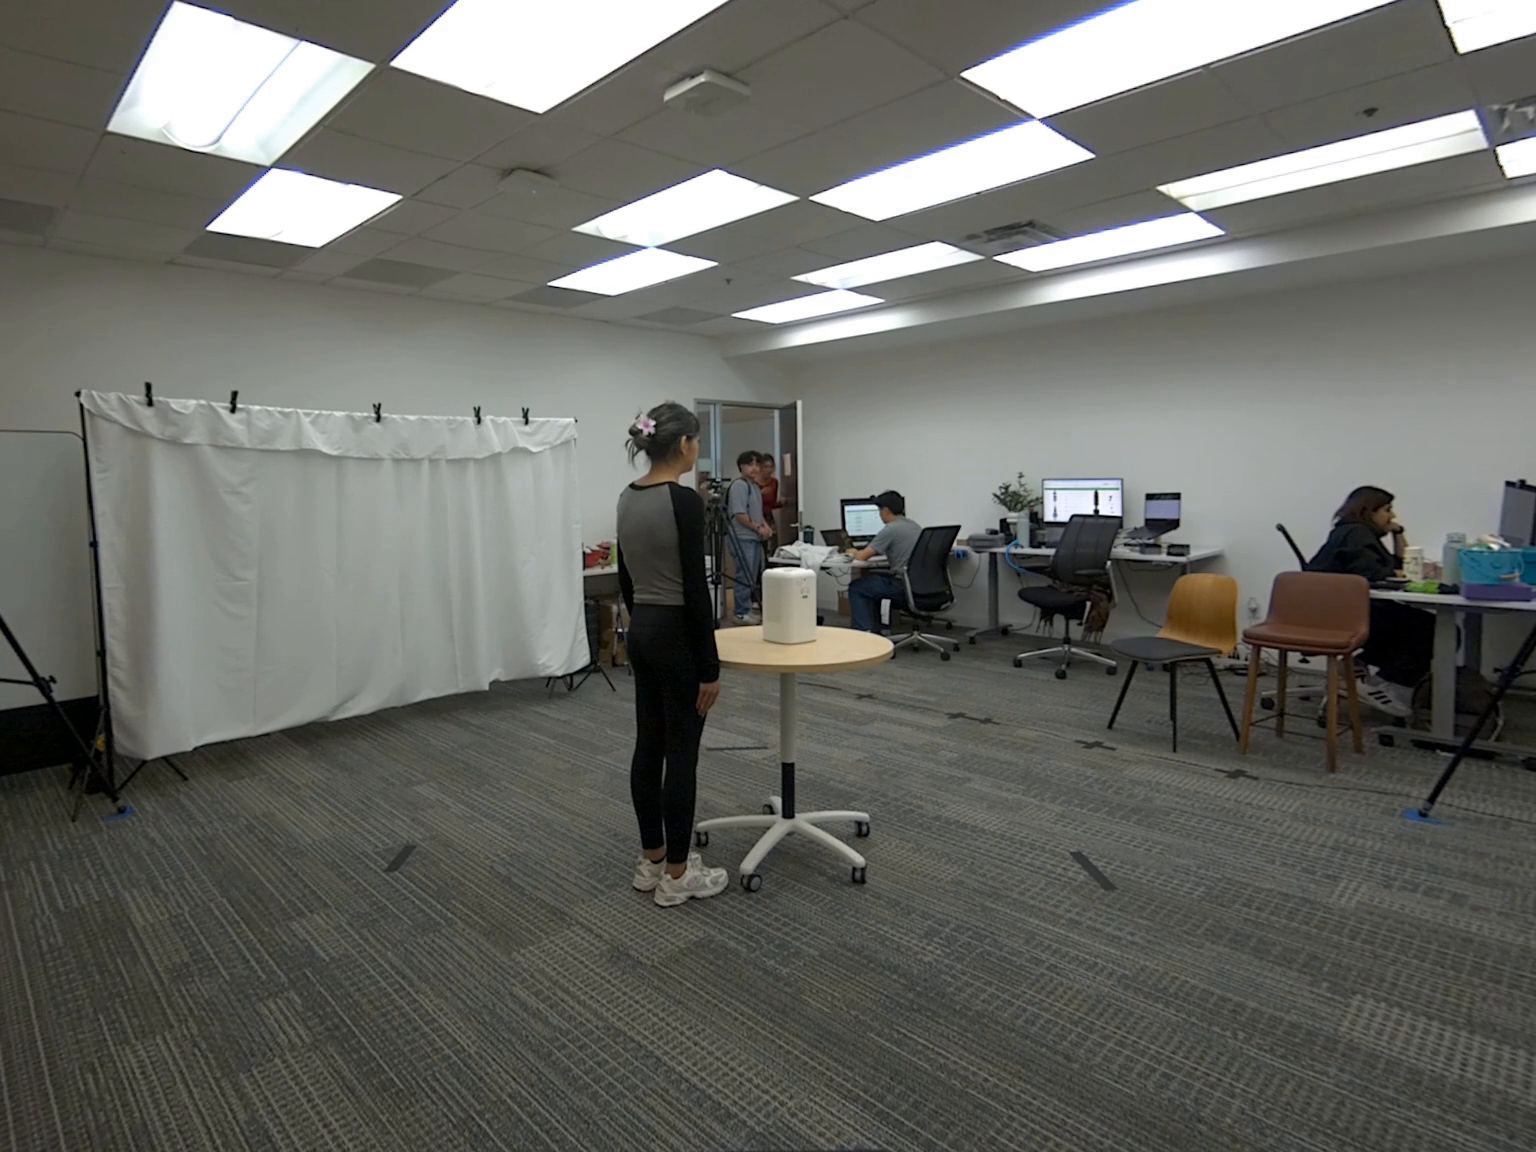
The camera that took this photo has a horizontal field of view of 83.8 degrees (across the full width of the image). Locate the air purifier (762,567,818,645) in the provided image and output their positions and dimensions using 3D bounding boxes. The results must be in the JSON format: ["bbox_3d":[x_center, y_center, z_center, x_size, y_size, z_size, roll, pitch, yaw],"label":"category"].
[{"bbox_3d":[0.081,0.106,3.178,0.166,0.264,0.177,-3,5,-40],"label":"air purifier"}]
